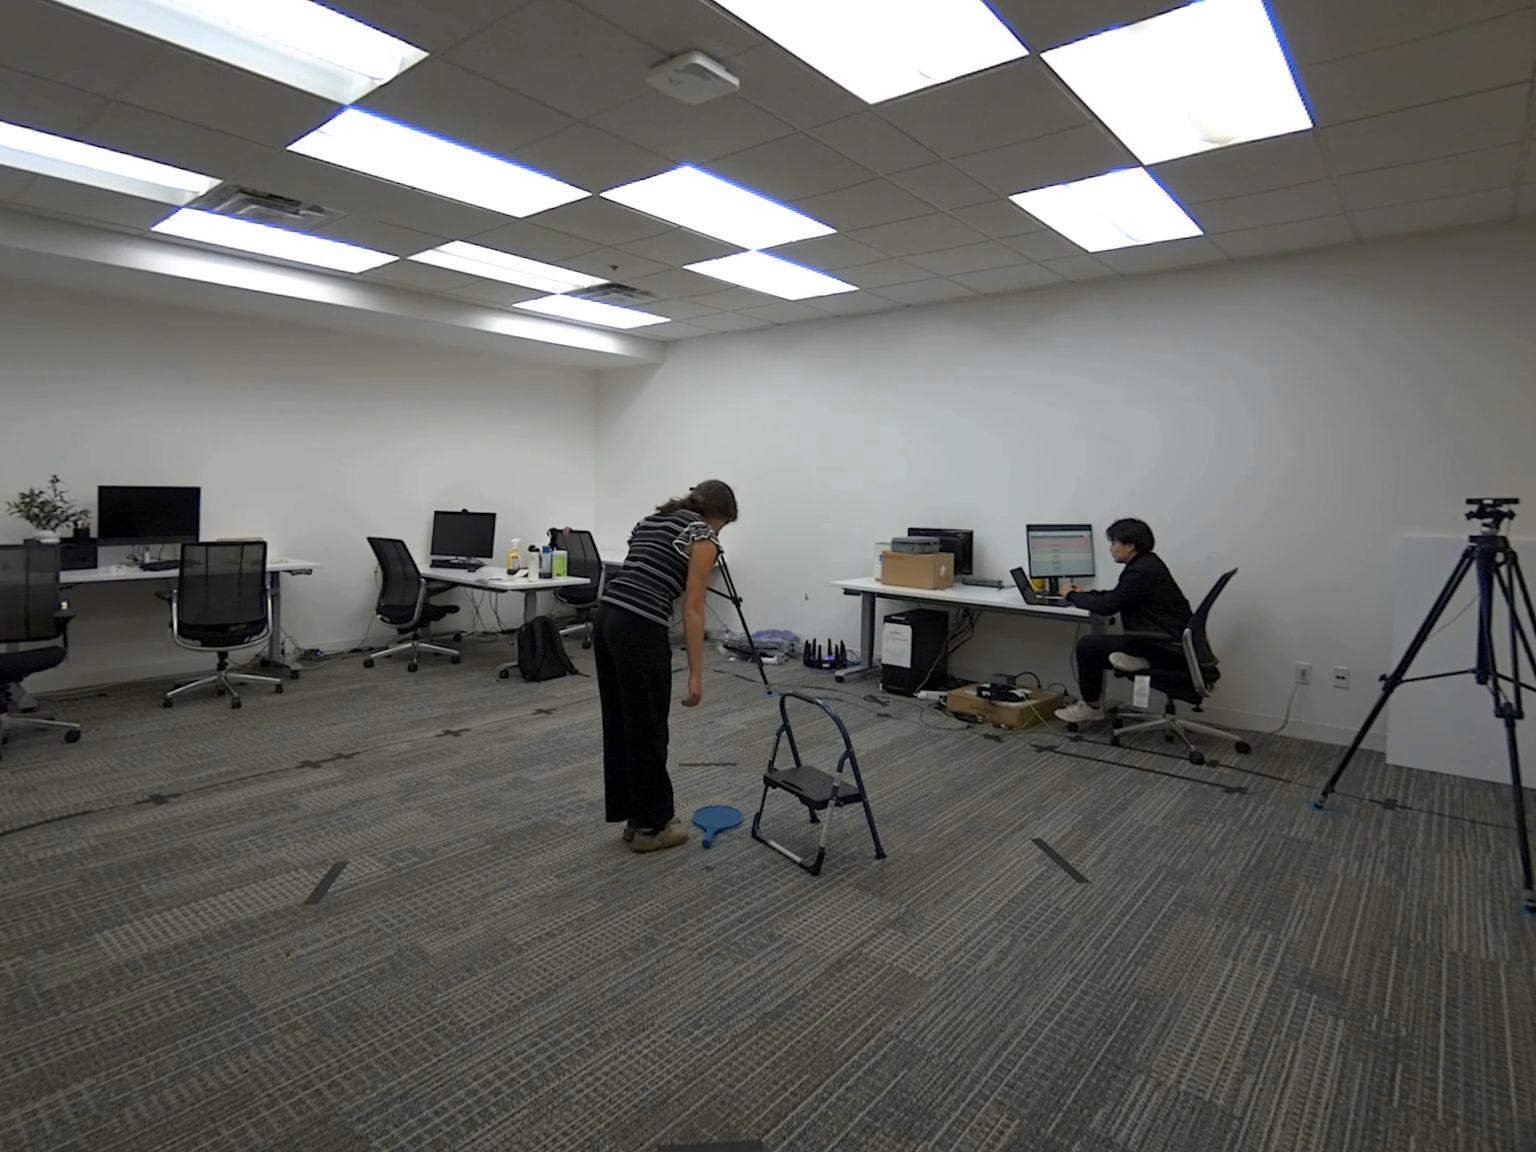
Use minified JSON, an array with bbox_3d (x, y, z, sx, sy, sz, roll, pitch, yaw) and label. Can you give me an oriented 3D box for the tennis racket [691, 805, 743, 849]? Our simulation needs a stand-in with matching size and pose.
[{"bbox_3d":[-0.231,1.010,3.493,0.216,0.032,0.429,1,4,9],"label":"tennis racket"}]
